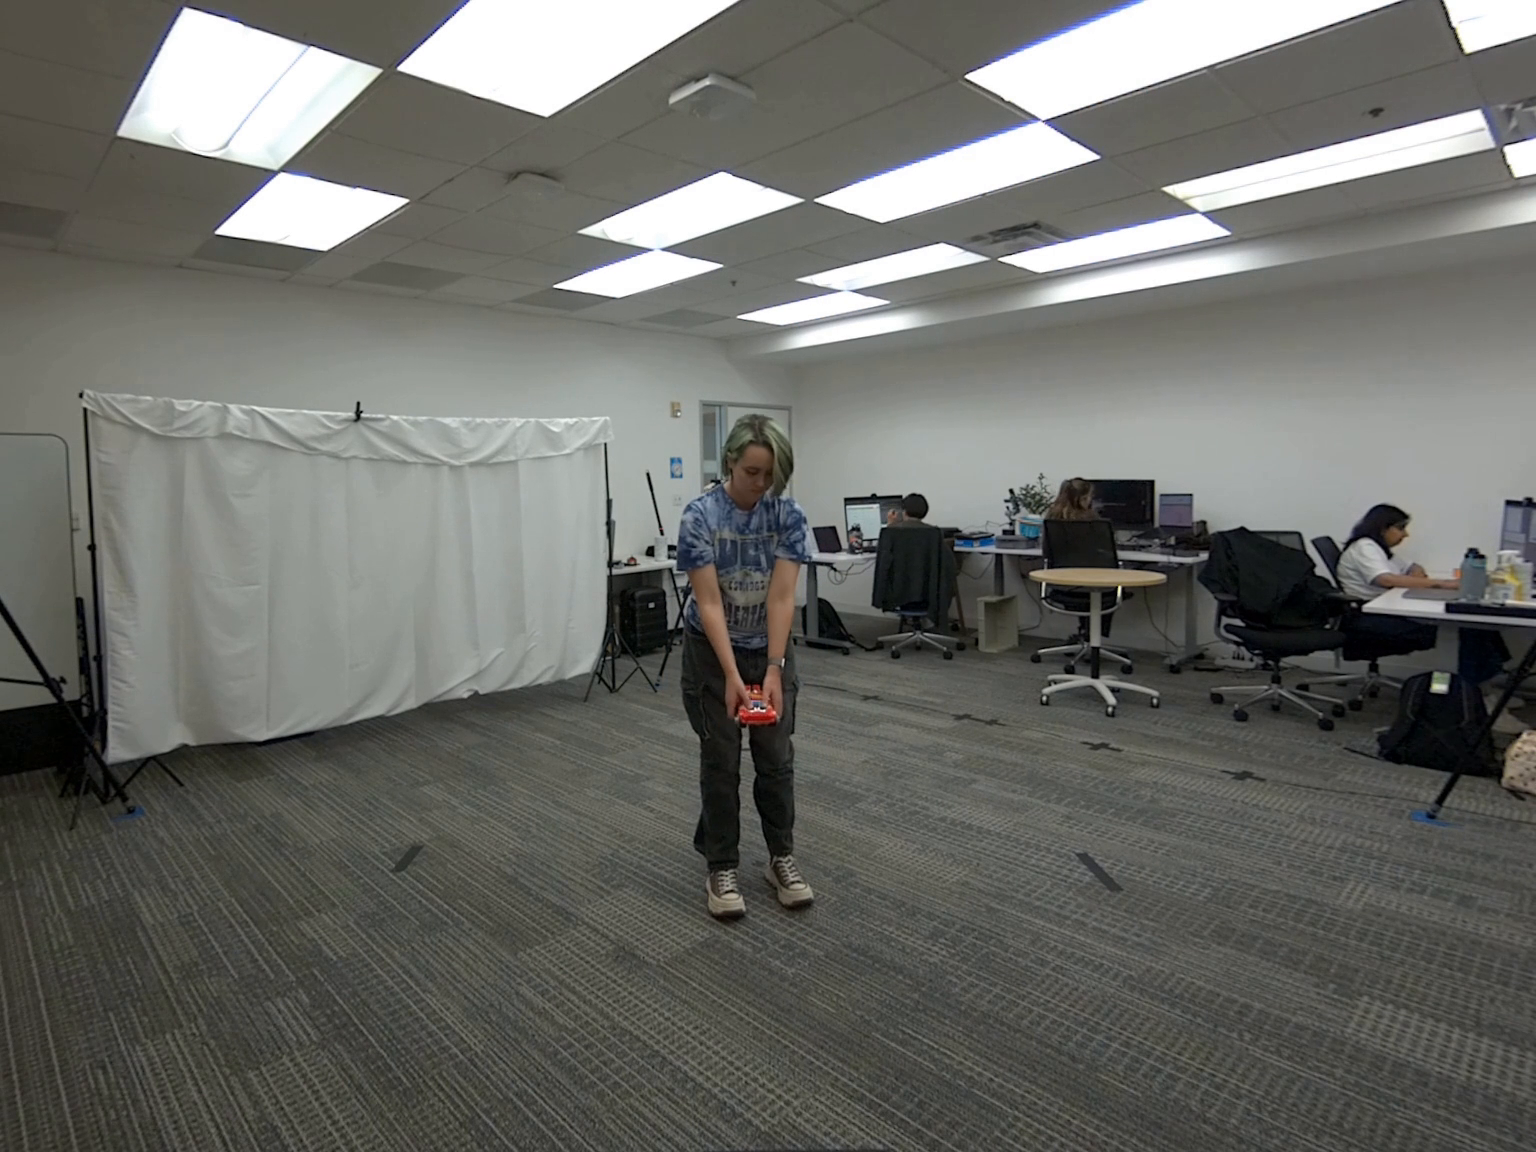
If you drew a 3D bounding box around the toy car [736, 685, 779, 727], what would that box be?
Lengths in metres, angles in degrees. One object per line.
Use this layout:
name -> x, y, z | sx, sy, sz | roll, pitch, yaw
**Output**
toy car -> -0.041, 0.408, 2.567 | 0.130, 0.082, 0.259 | -2, 16, -4
